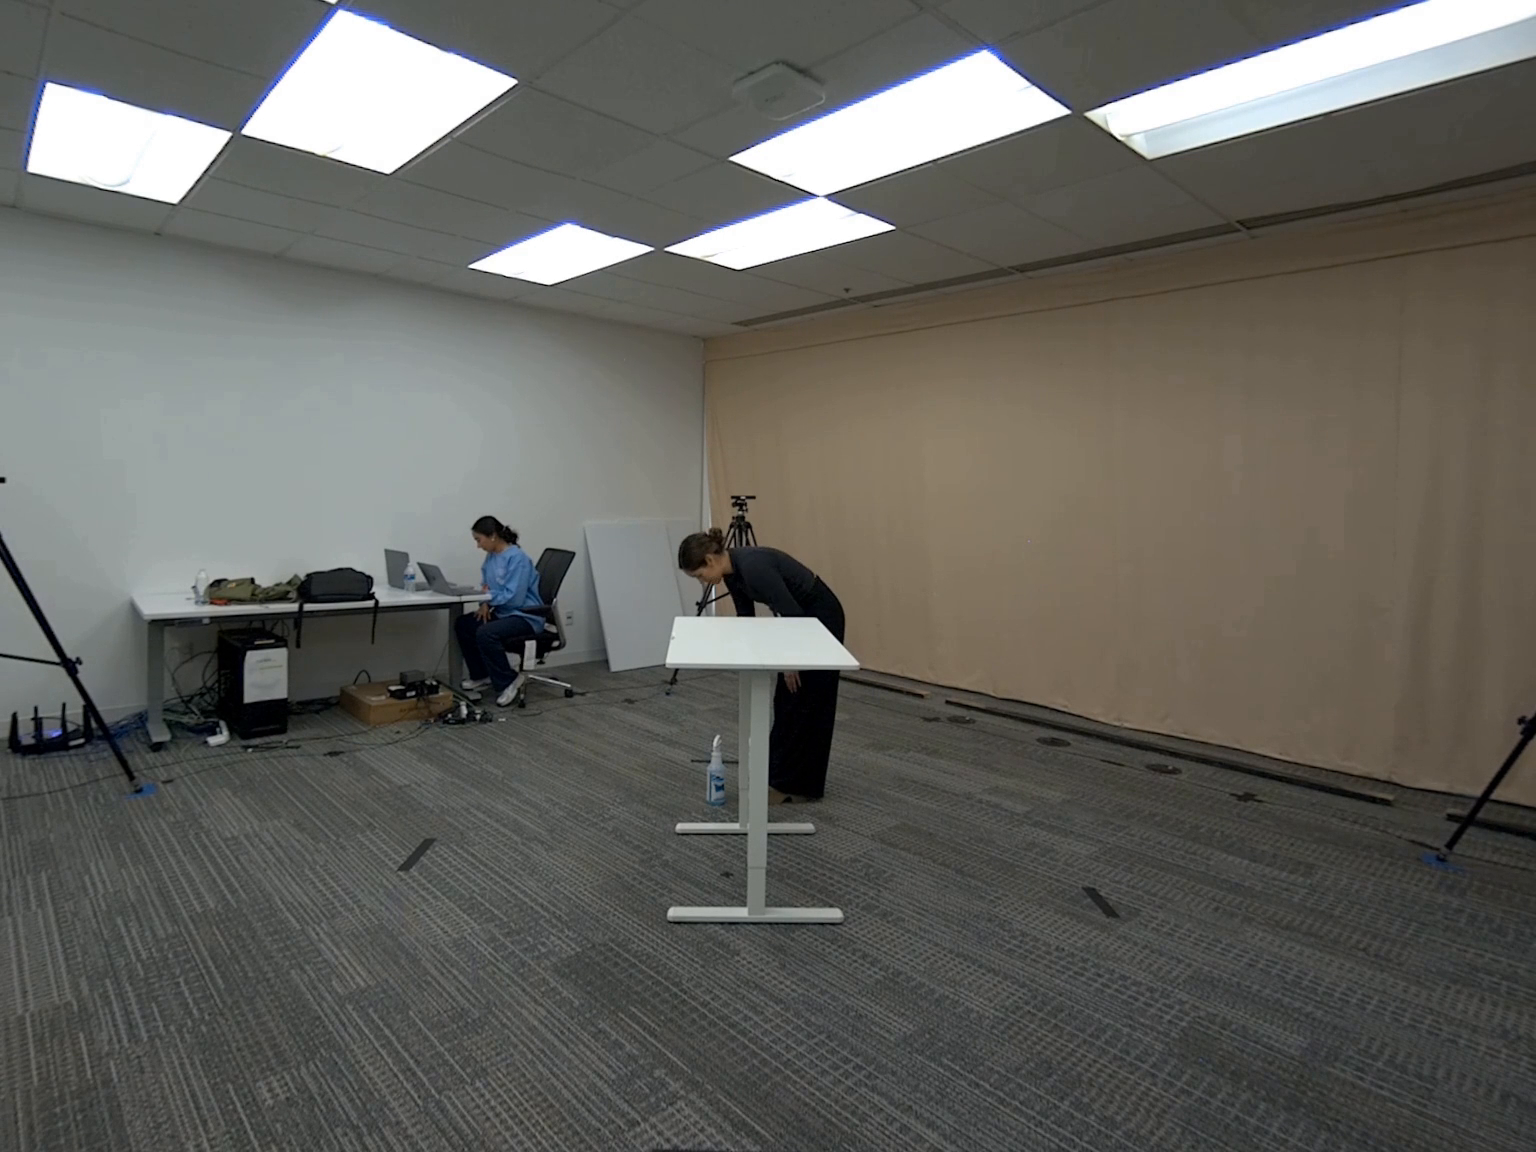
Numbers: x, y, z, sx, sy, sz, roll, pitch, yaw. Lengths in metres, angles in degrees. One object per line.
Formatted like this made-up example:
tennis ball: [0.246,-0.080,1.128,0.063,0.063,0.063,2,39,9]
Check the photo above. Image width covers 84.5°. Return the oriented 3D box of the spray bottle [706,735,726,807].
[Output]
spray bottle: [-0.245,0.889,3.850,0.089,0.297,0.088,3,2,31]
